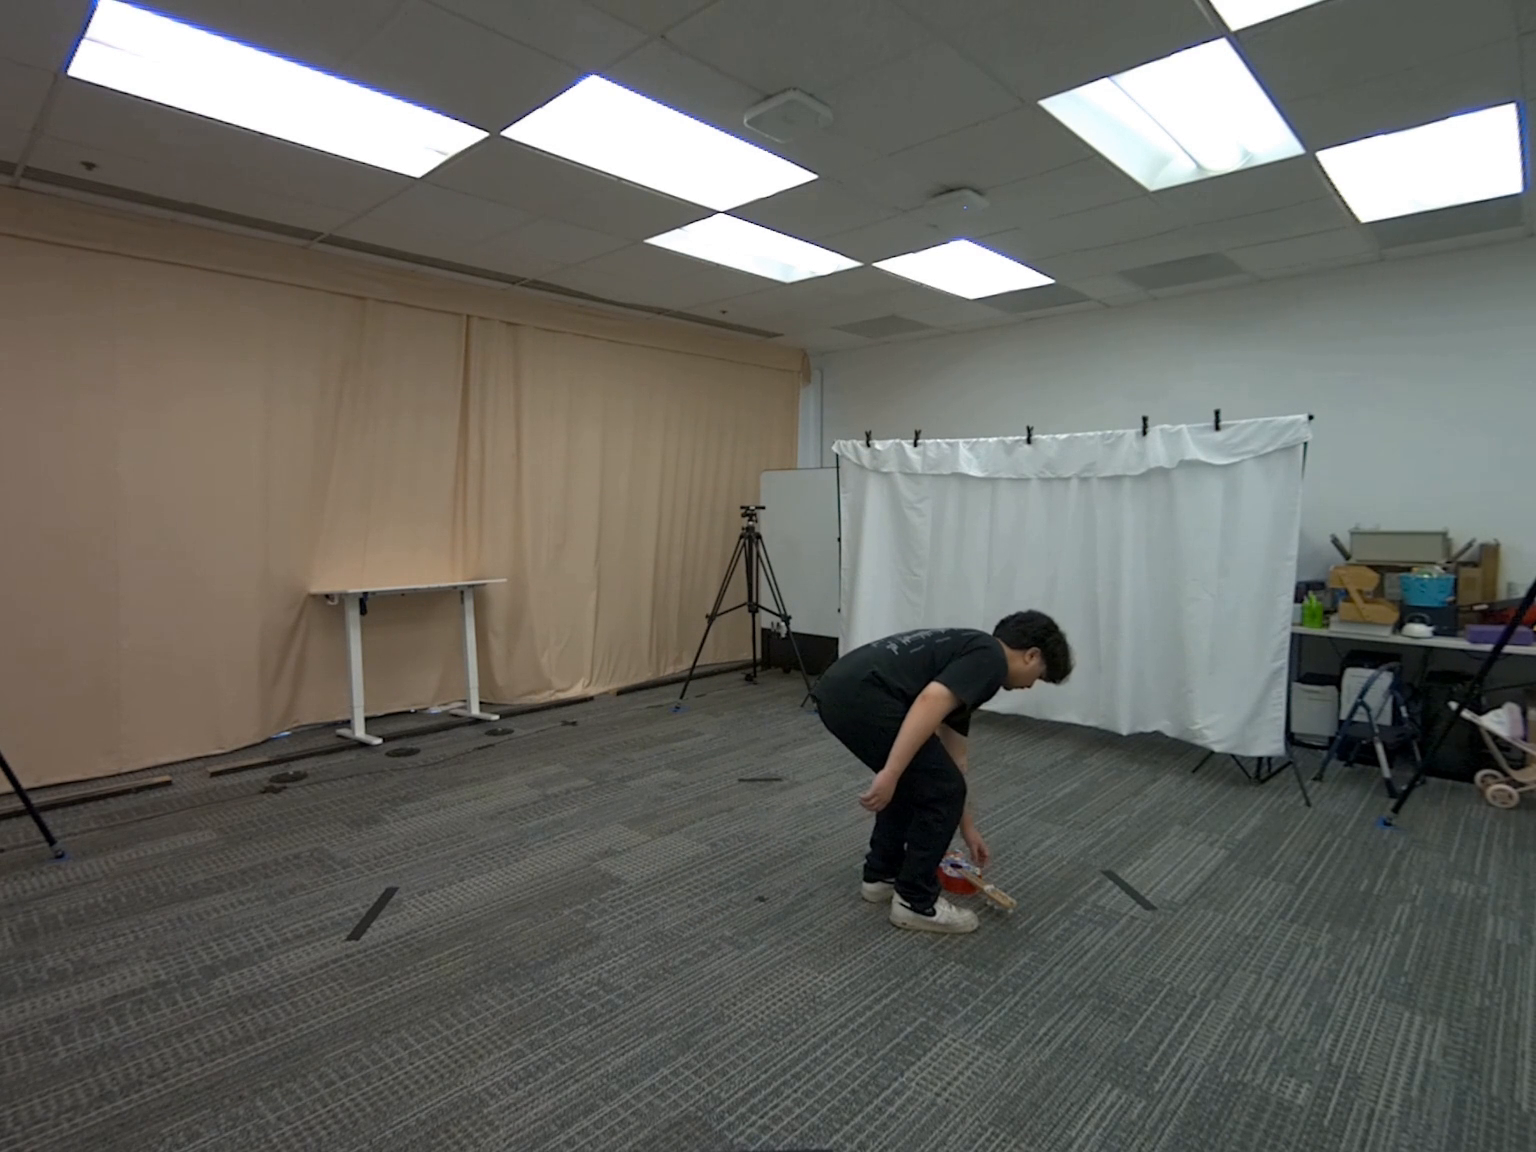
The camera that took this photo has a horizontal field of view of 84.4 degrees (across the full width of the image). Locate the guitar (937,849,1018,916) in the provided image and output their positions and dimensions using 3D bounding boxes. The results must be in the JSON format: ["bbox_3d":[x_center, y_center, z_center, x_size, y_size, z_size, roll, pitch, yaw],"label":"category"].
[{"bbox_3d":[0.700,1.102,3.036,0.191,0.070,0.504,0,4,-12],"label":"guitar"}]
